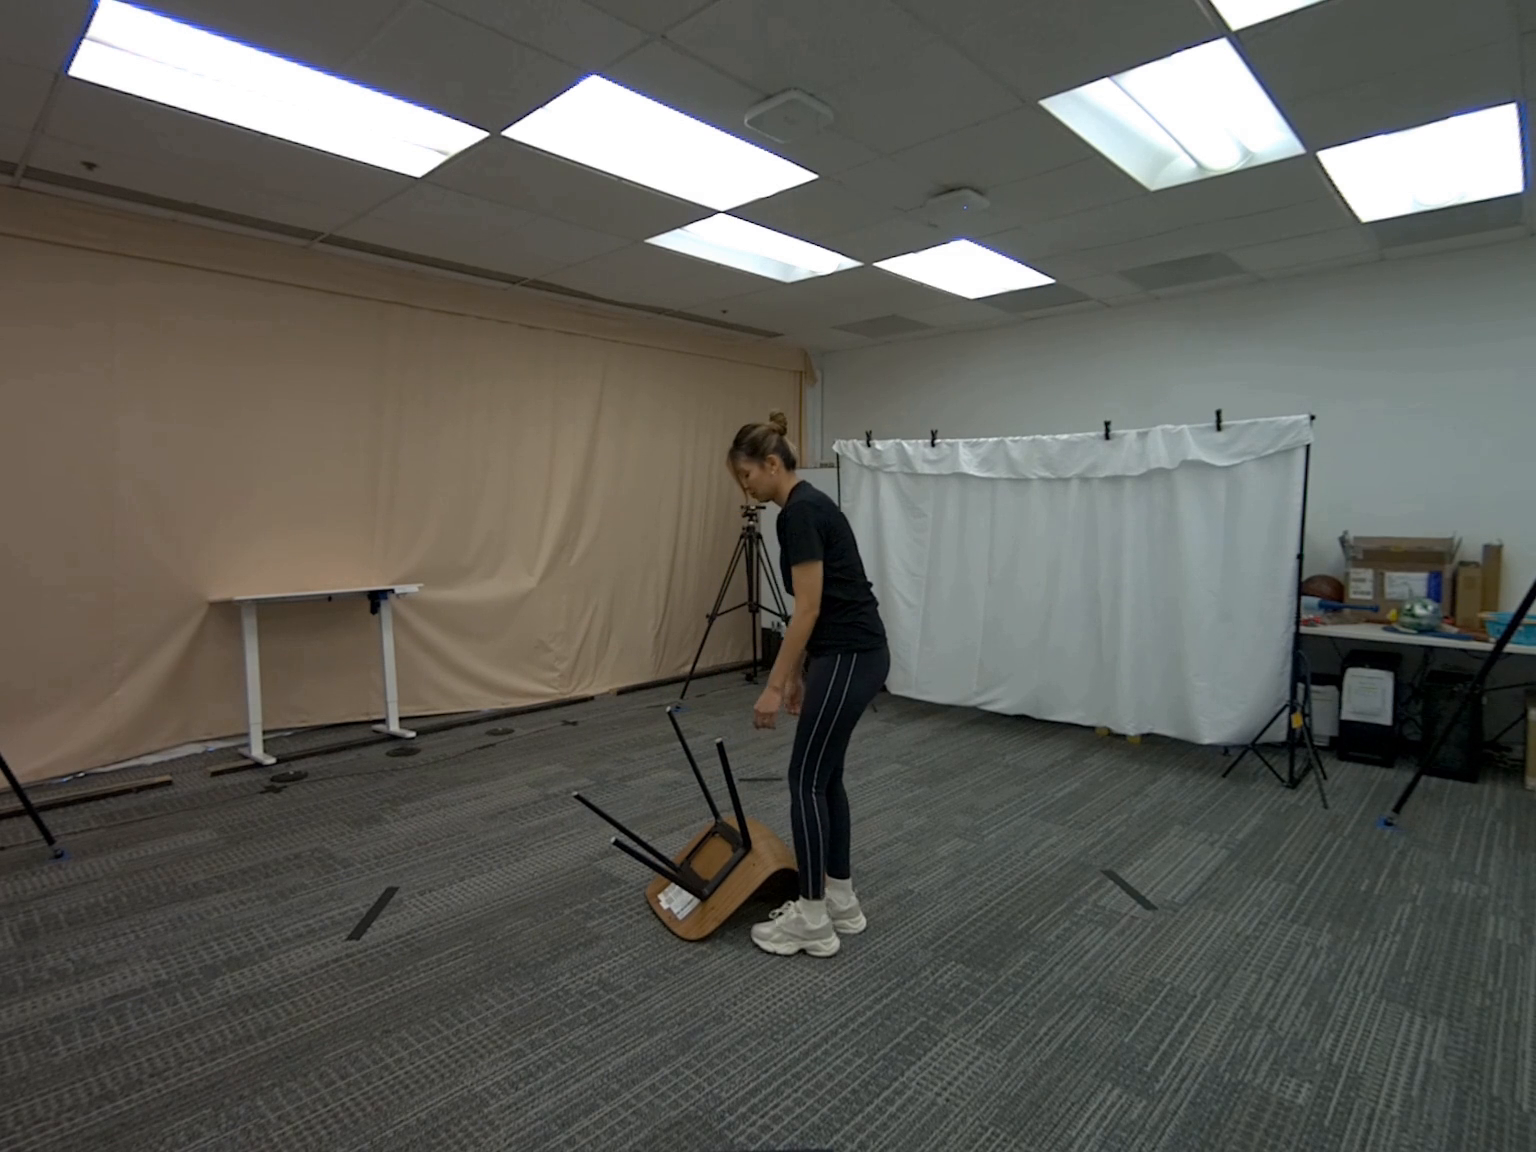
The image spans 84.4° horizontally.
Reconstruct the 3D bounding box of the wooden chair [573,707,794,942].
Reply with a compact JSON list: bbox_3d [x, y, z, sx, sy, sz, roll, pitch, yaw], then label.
[{"bbox_3d":[-0.198,0.980,2.922,0.520,0.859,0.491,-44,20,-17],"label":"wooden chair"}]
